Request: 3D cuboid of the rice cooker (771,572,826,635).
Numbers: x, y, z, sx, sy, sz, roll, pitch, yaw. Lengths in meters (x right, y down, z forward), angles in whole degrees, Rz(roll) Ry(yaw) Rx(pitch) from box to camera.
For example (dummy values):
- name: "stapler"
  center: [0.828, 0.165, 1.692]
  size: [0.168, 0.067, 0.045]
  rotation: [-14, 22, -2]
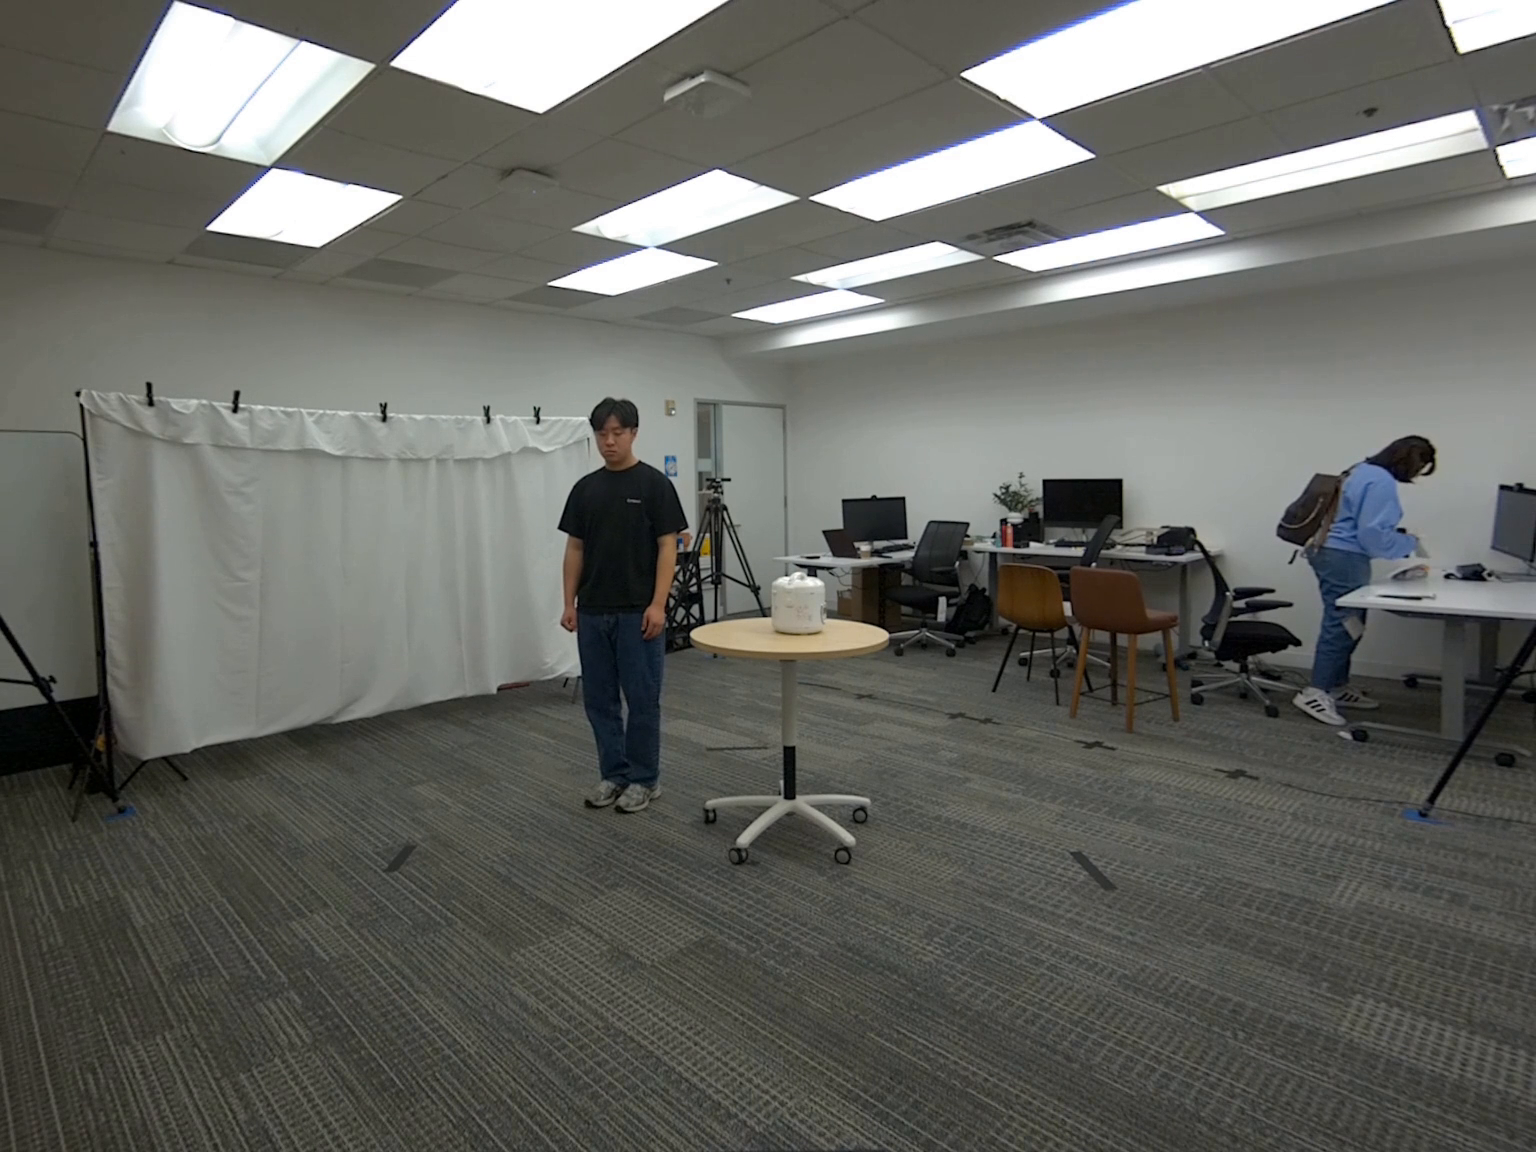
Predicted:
- name: "rice cooker"
  center: [0.123, 0.099, 3.347]
  size: [0.222, 0.232, 0.216]
  rotation: [1, 5, 24]
